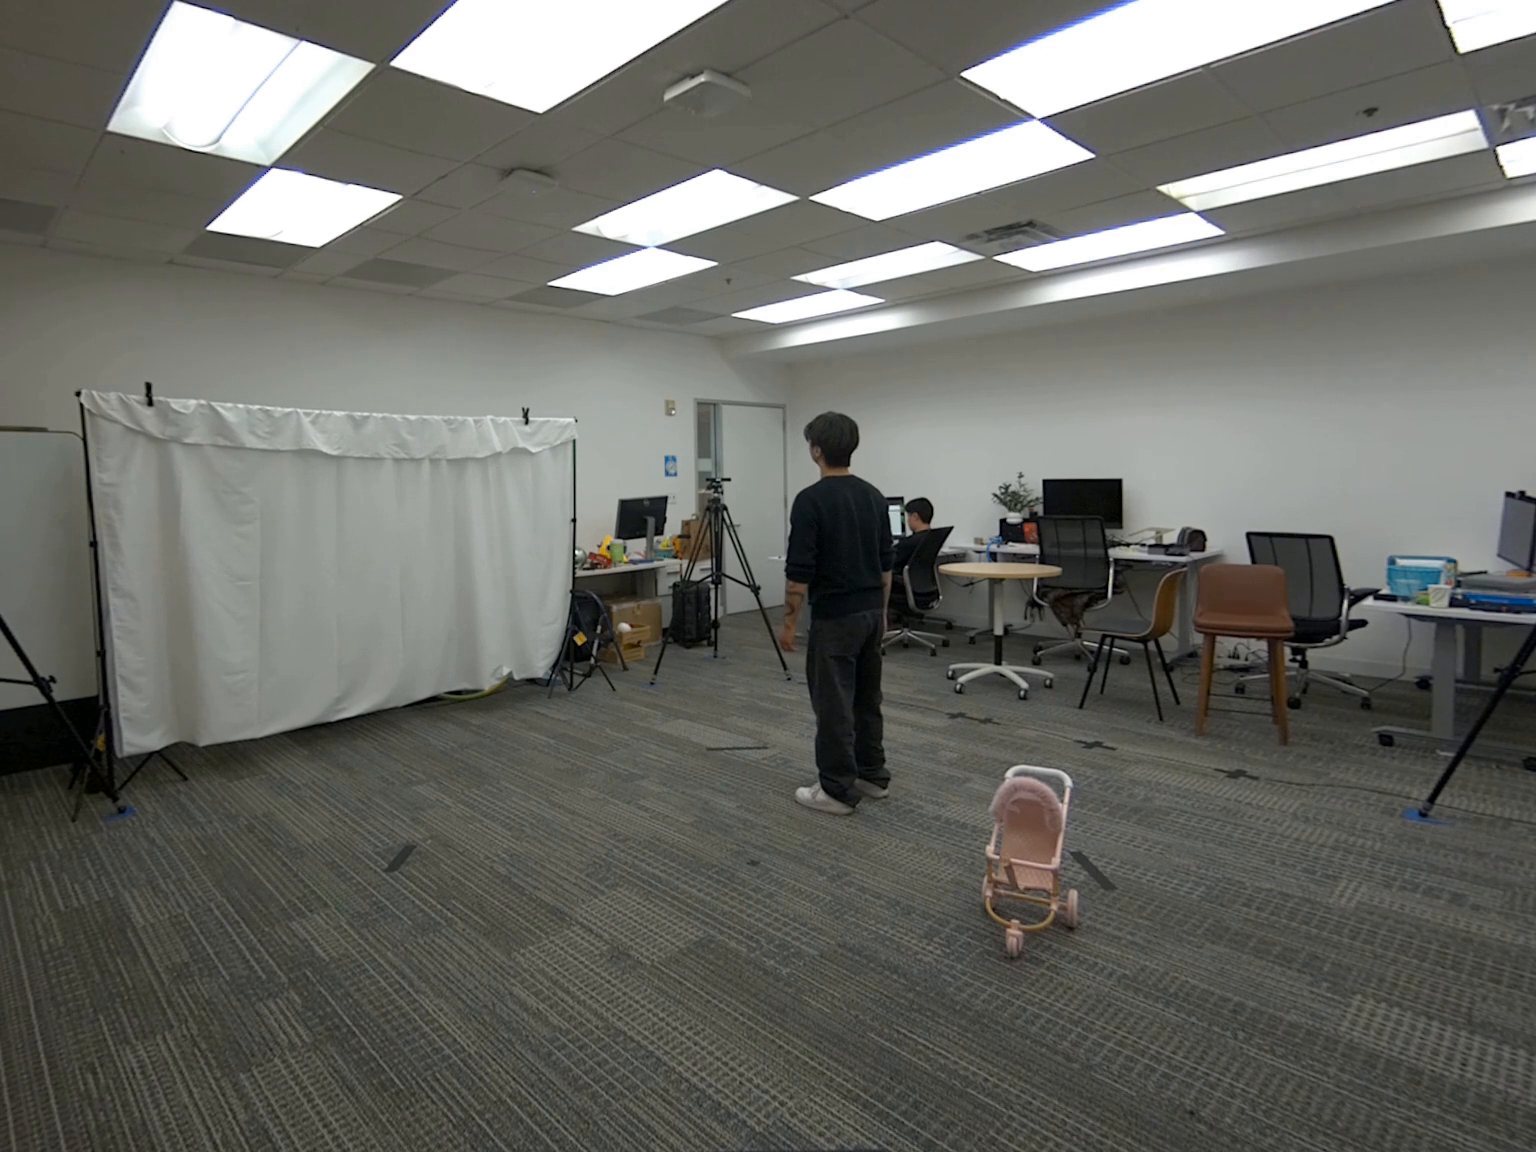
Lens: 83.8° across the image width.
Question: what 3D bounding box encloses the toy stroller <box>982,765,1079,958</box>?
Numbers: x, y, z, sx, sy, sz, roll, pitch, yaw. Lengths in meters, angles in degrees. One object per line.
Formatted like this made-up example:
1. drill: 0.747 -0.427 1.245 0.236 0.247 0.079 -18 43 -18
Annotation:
1. toy stroller: 0.795 0.864 2.627 0.289 0.539 0.330 2 -11 31
